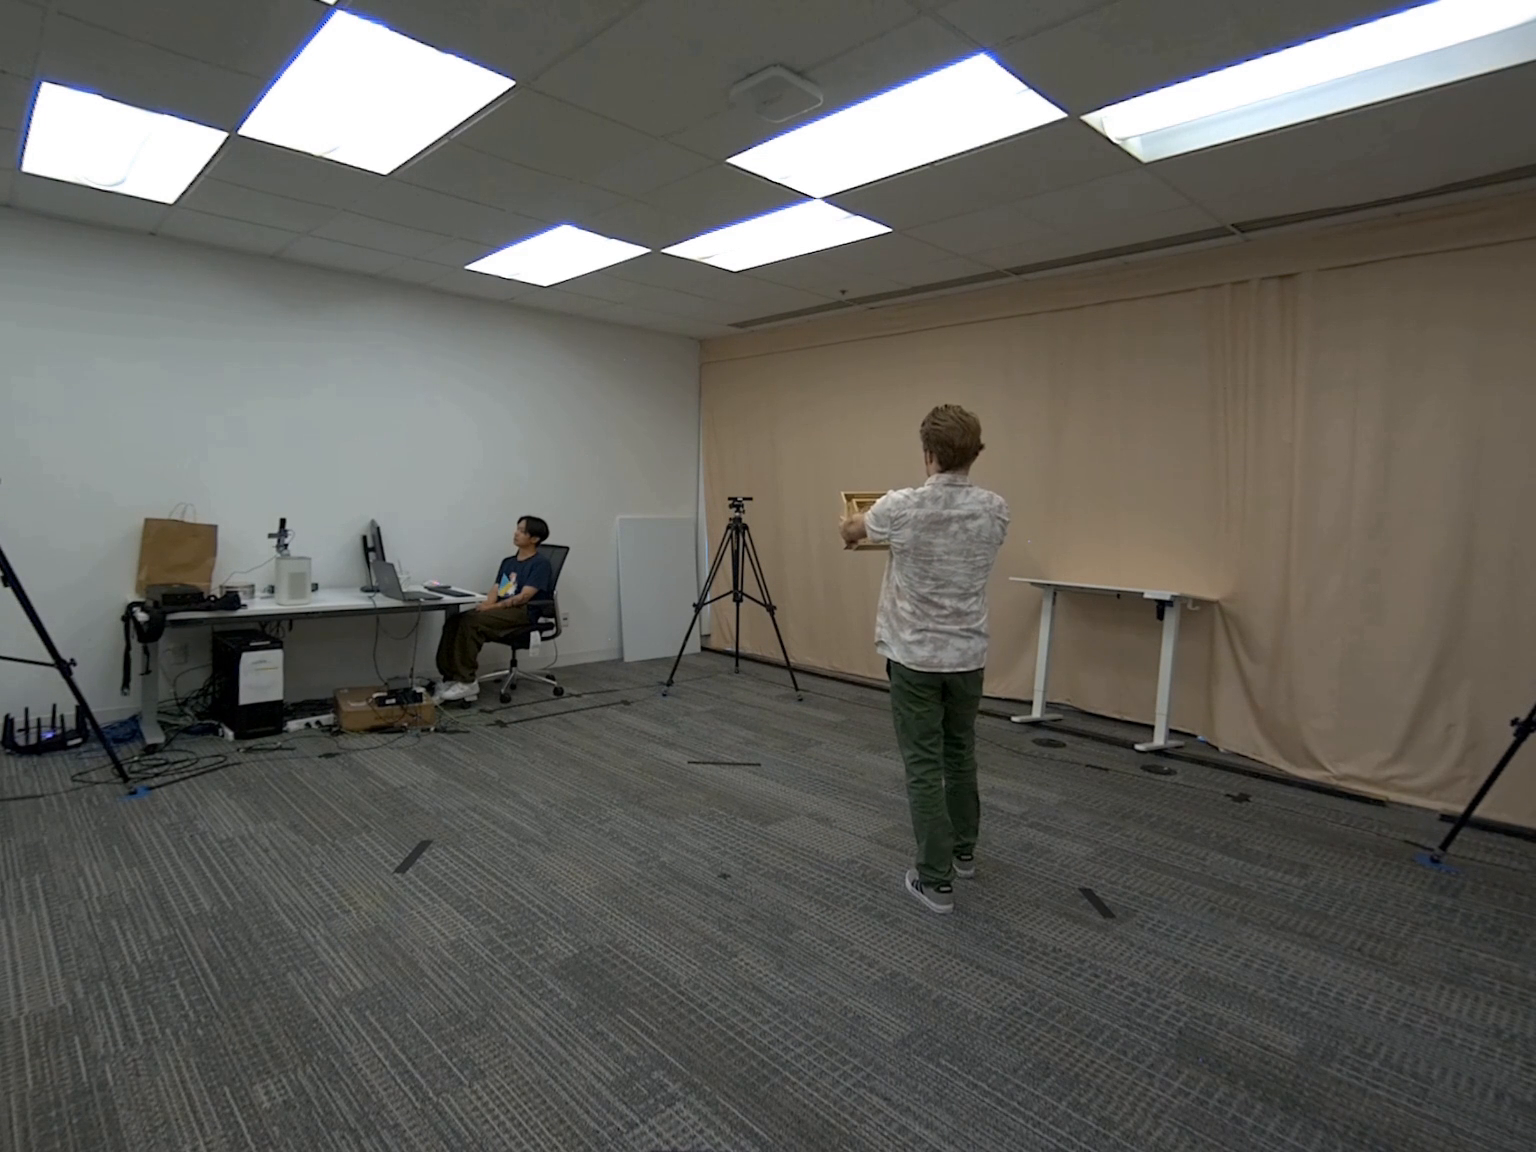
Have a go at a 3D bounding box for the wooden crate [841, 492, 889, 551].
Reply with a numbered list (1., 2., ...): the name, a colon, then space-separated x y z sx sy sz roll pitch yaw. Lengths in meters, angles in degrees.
1. wooden crate: 0.499 -0.244 3.585 0.322 0.305 0.272 0 -14 -8
